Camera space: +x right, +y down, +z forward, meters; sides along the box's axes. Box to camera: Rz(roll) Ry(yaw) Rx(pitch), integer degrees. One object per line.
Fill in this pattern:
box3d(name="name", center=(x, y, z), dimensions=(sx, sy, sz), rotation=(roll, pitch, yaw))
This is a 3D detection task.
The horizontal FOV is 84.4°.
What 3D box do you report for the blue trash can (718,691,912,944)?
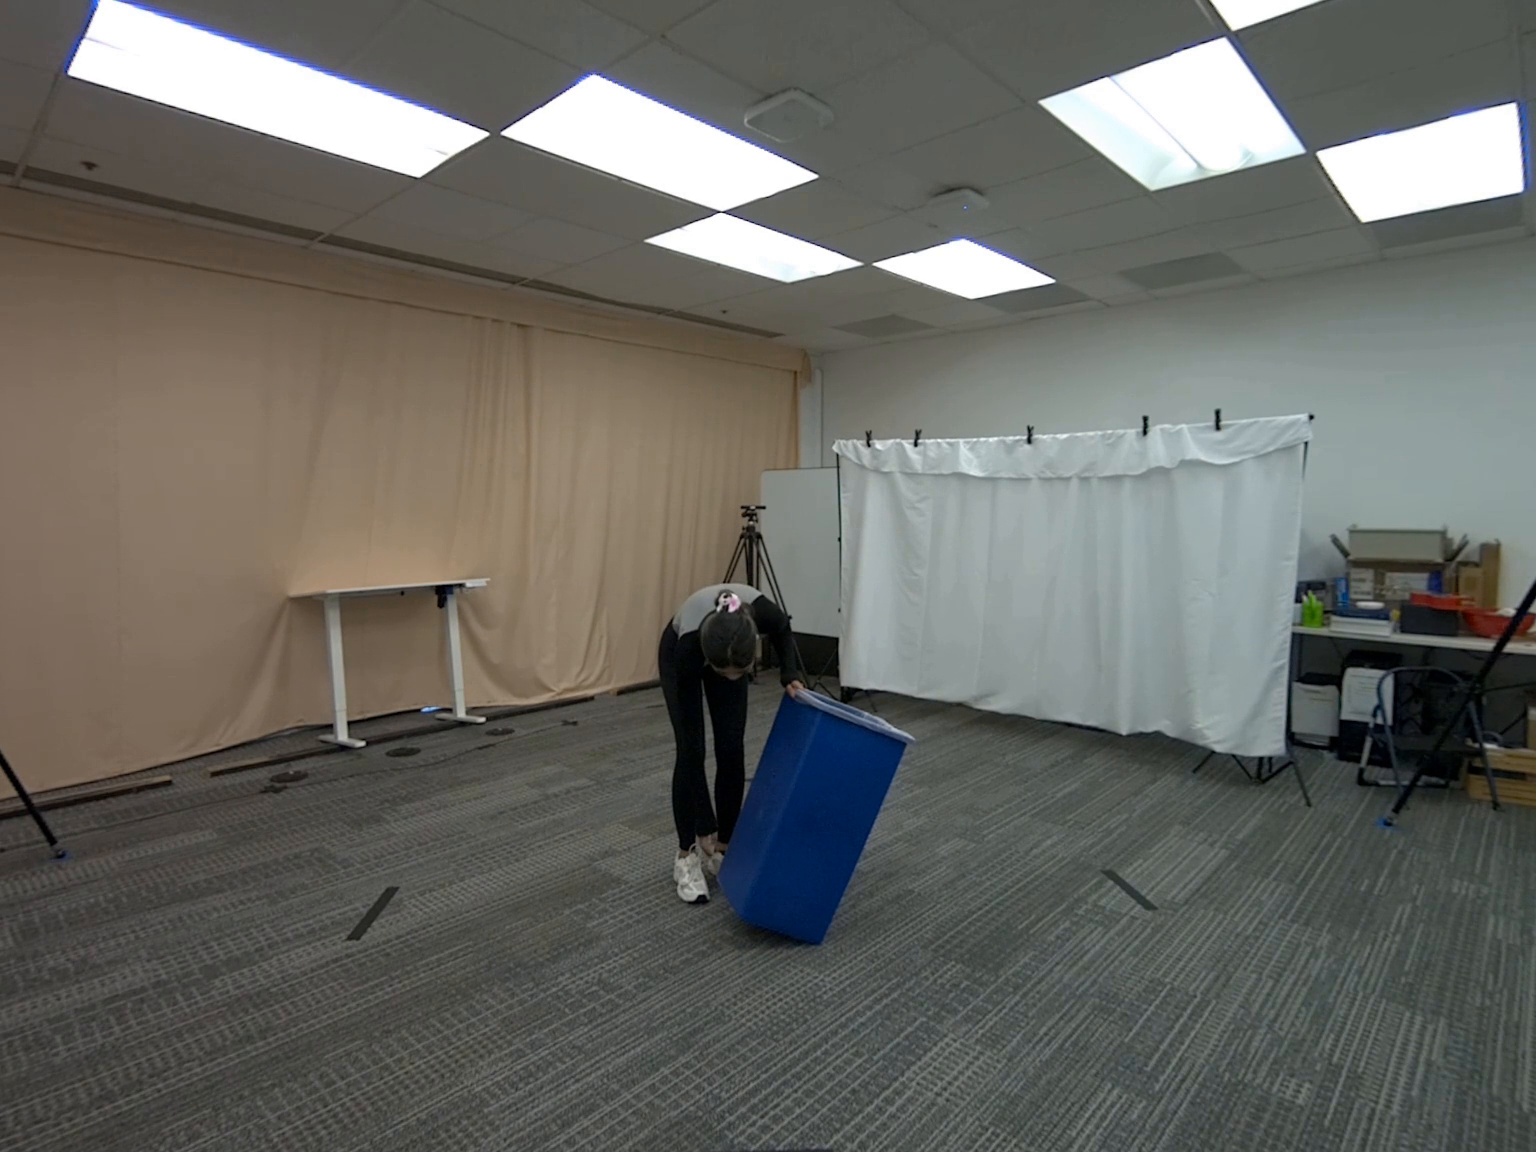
box3d(name="blue trash can", center=(0.130, 0.769, 2.787), dimensions=(0.367, 0.714, 0.385), rotation=(23, -4, -17))
